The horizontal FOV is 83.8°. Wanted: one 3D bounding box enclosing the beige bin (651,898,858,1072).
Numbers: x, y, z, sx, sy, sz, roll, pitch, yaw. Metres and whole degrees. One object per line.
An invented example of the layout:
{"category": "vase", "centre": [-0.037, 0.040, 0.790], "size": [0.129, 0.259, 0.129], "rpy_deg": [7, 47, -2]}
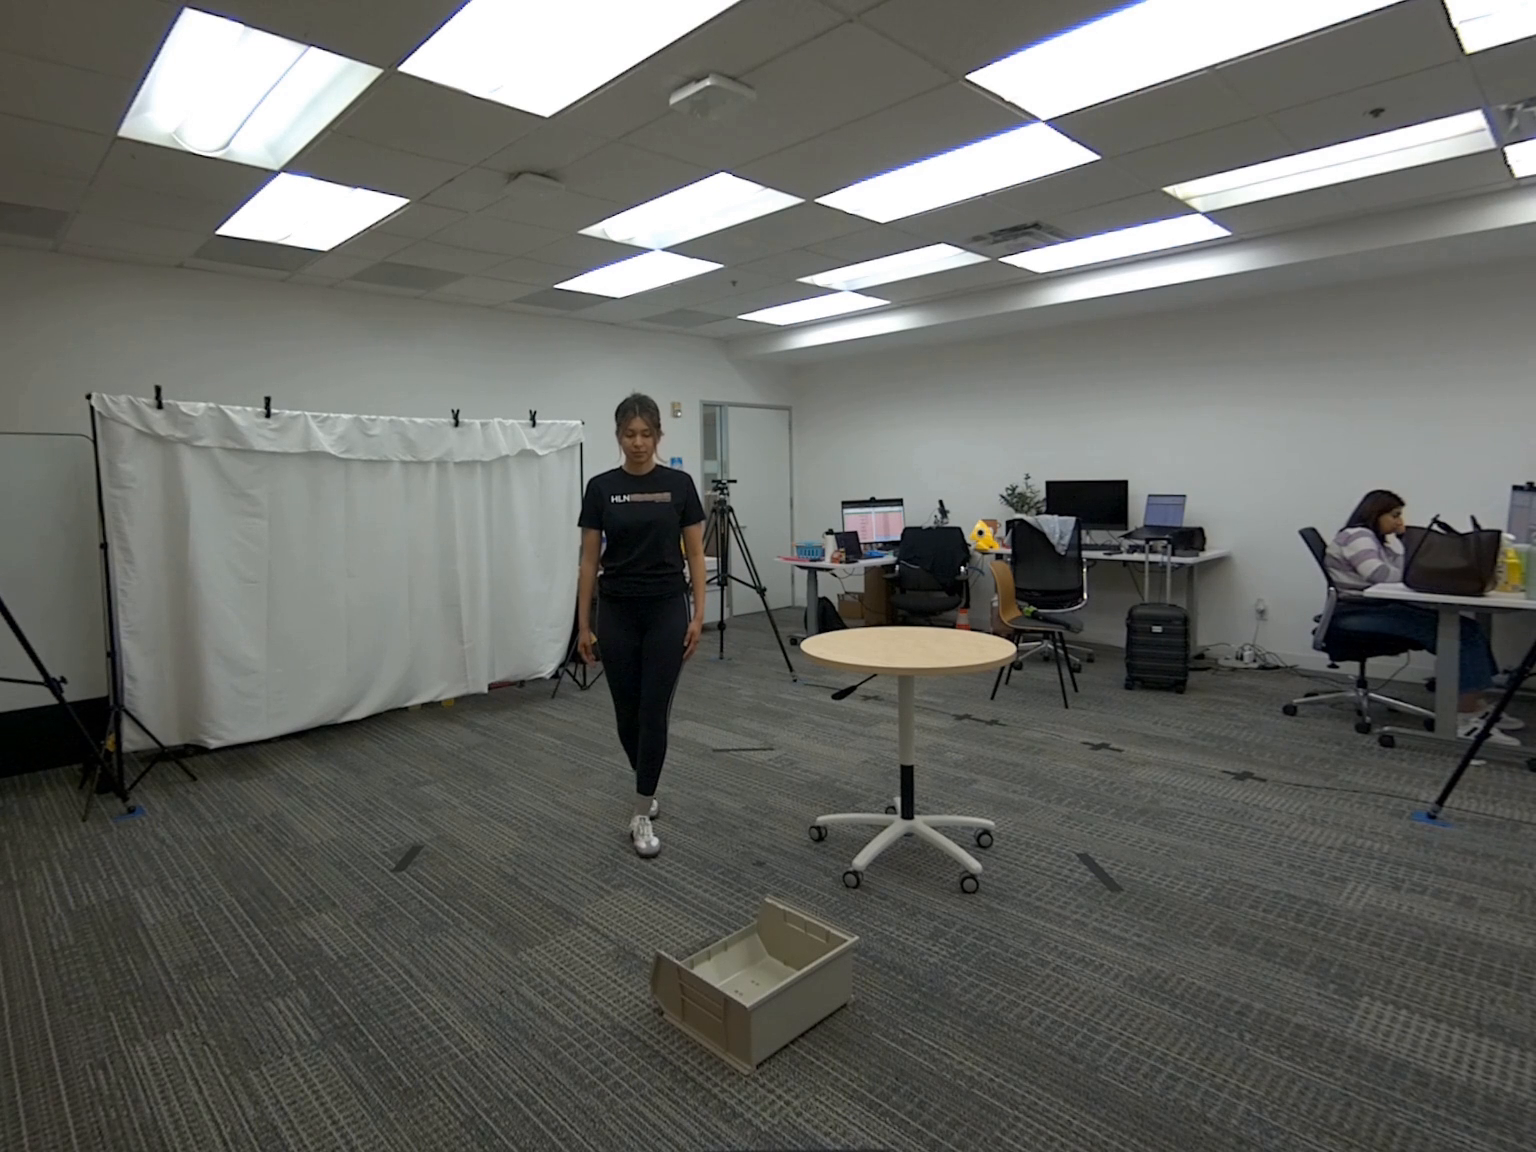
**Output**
{"category": "beige bin", "centre": [-0.030, 1.059, 2.264], "size": [0.411, 0.188, 0.389], "rpy_deg": [-6, 8, -45]}
